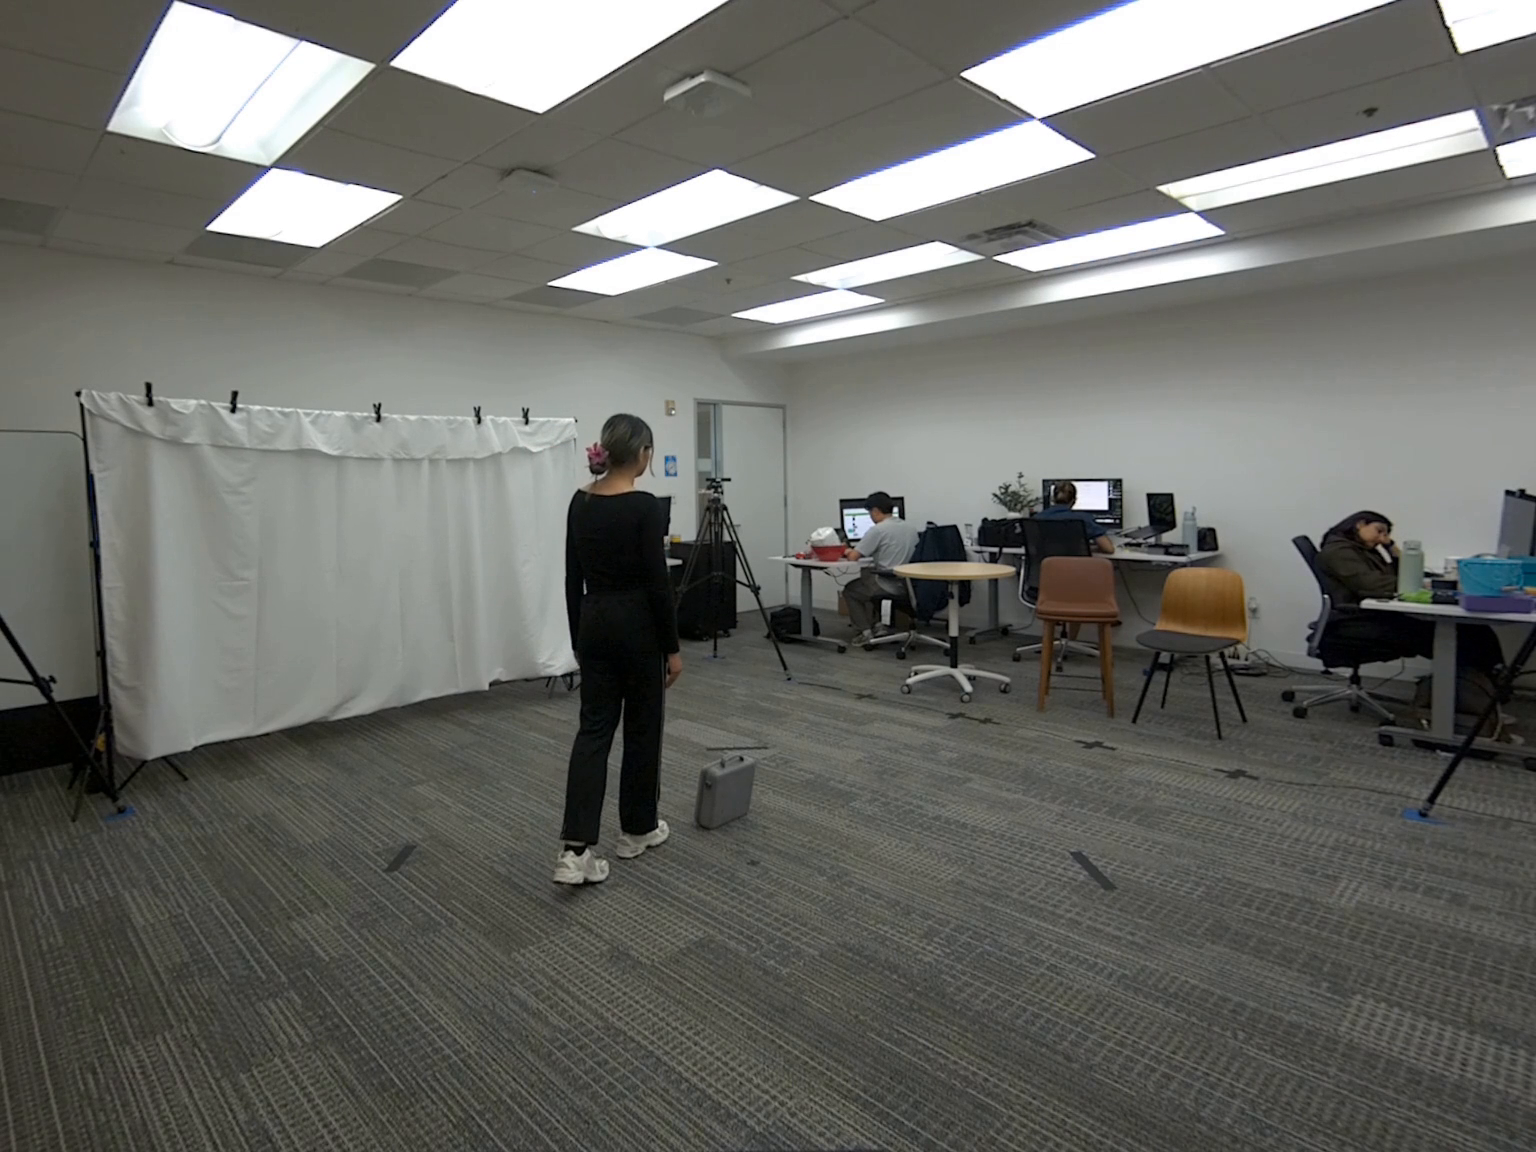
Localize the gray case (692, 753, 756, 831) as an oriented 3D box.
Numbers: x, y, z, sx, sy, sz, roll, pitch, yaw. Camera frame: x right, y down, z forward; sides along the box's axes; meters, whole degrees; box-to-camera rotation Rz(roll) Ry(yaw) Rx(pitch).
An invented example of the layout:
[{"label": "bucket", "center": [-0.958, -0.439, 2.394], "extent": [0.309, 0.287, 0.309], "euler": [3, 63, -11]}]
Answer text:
[{"label": "gray case", "center": [-0.168, 0.867, 3.483], "extent": [0.108, 0.258, 0.250], "euler": [17, 15, 40]}]
